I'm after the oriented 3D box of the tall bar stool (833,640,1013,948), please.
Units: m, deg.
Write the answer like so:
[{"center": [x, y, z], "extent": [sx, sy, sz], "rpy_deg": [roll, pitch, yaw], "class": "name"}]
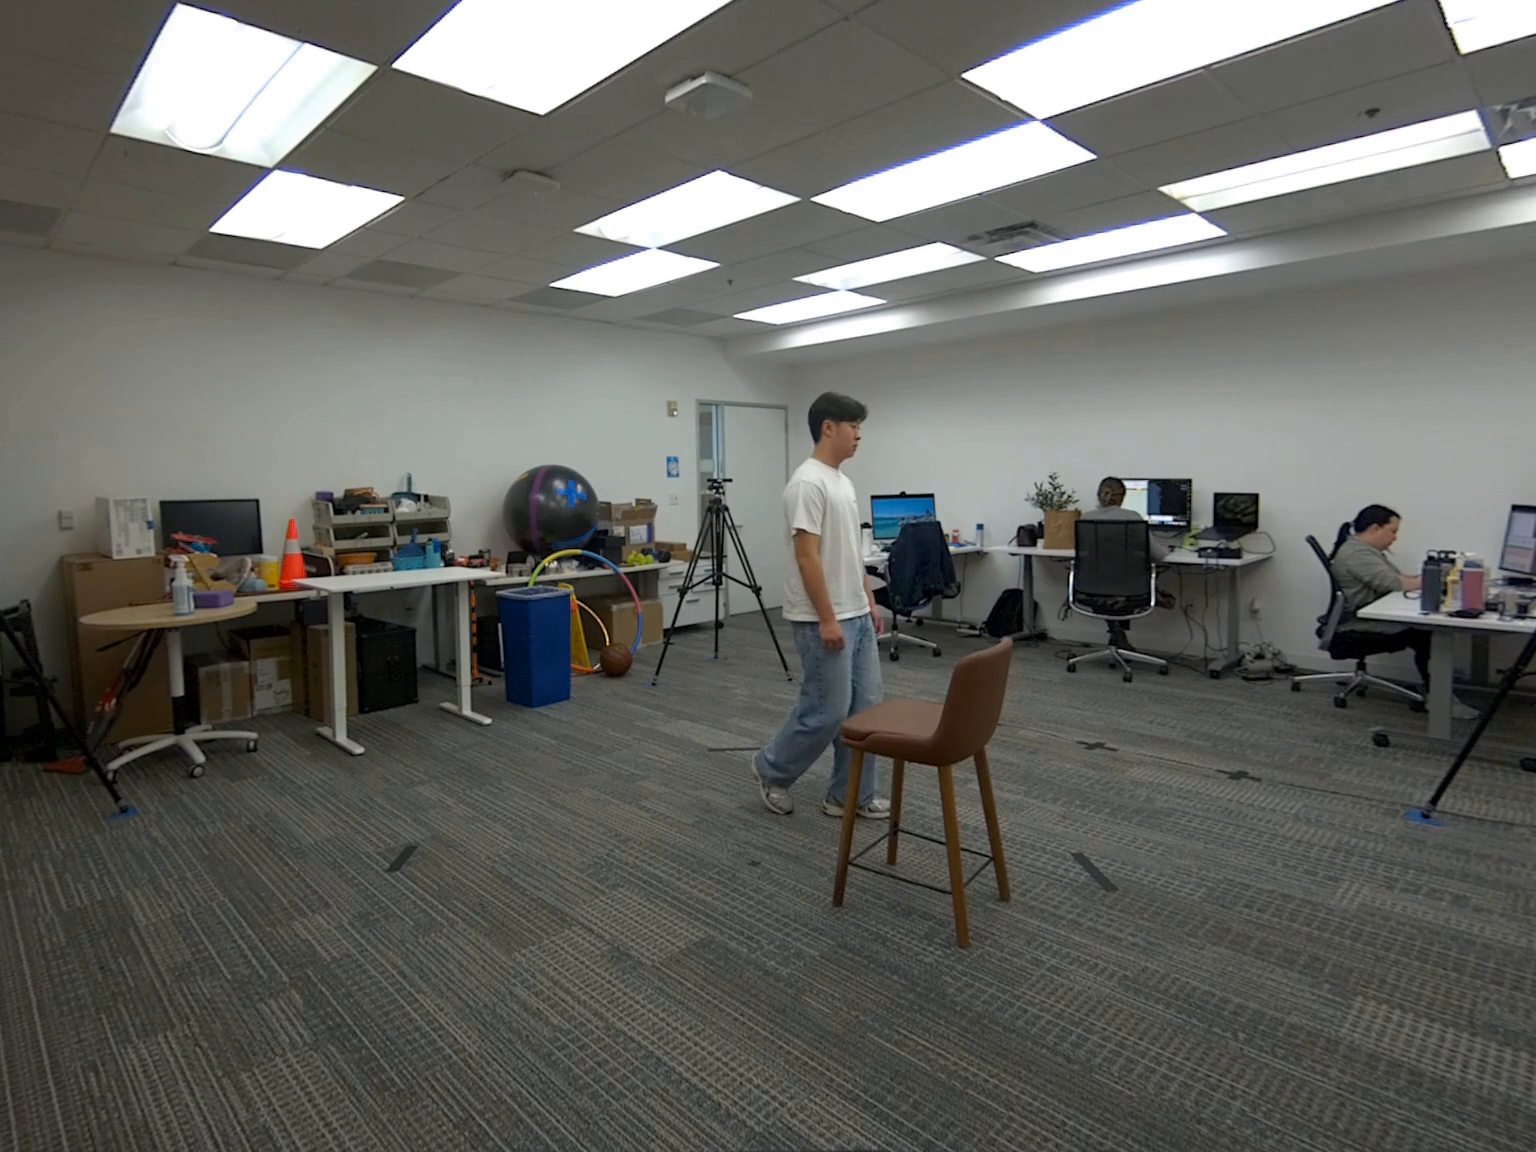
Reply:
[{"center": [0.514, 0.642, 2.775], "extent": [0.482, 0.885, 0.445], "rpy_deg": [5, 7, 37], "class": "tall bar stool"}]
